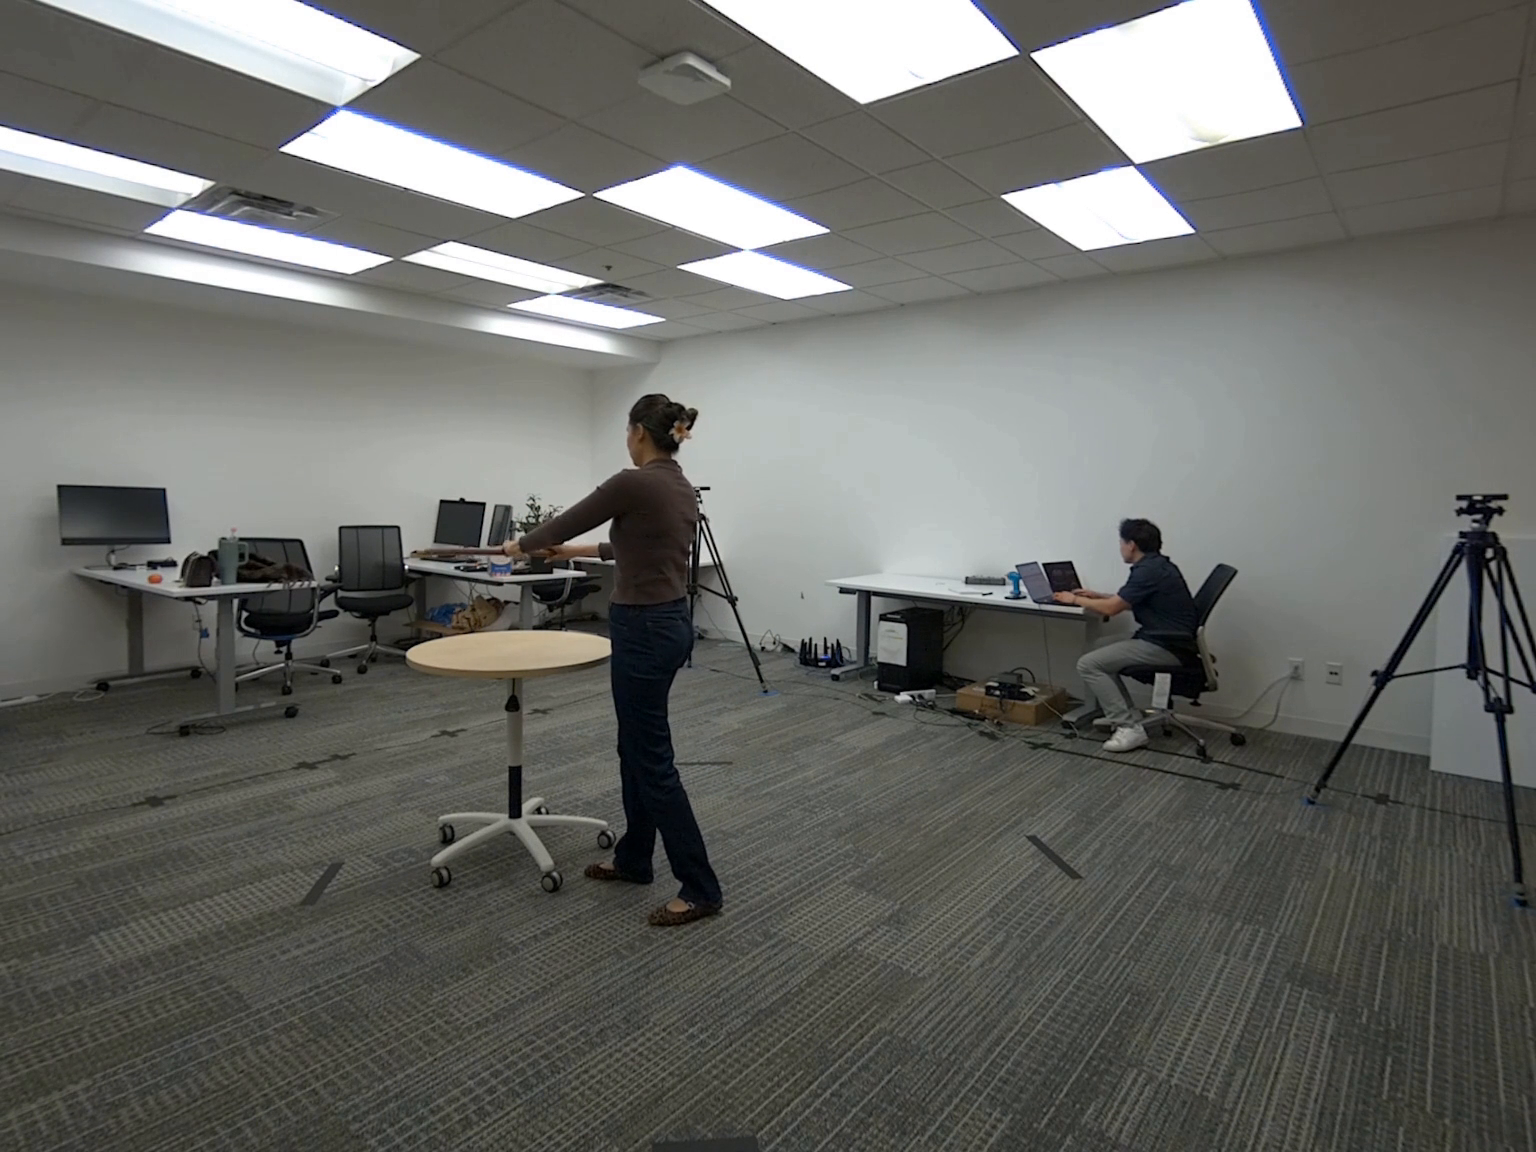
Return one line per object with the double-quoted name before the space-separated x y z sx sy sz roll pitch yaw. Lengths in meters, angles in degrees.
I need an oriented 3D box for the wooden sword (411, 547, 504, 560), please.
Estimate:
"wooden sword" -0.902 -0.081 3.098 0.025 0.051 1.001 18 7 20
